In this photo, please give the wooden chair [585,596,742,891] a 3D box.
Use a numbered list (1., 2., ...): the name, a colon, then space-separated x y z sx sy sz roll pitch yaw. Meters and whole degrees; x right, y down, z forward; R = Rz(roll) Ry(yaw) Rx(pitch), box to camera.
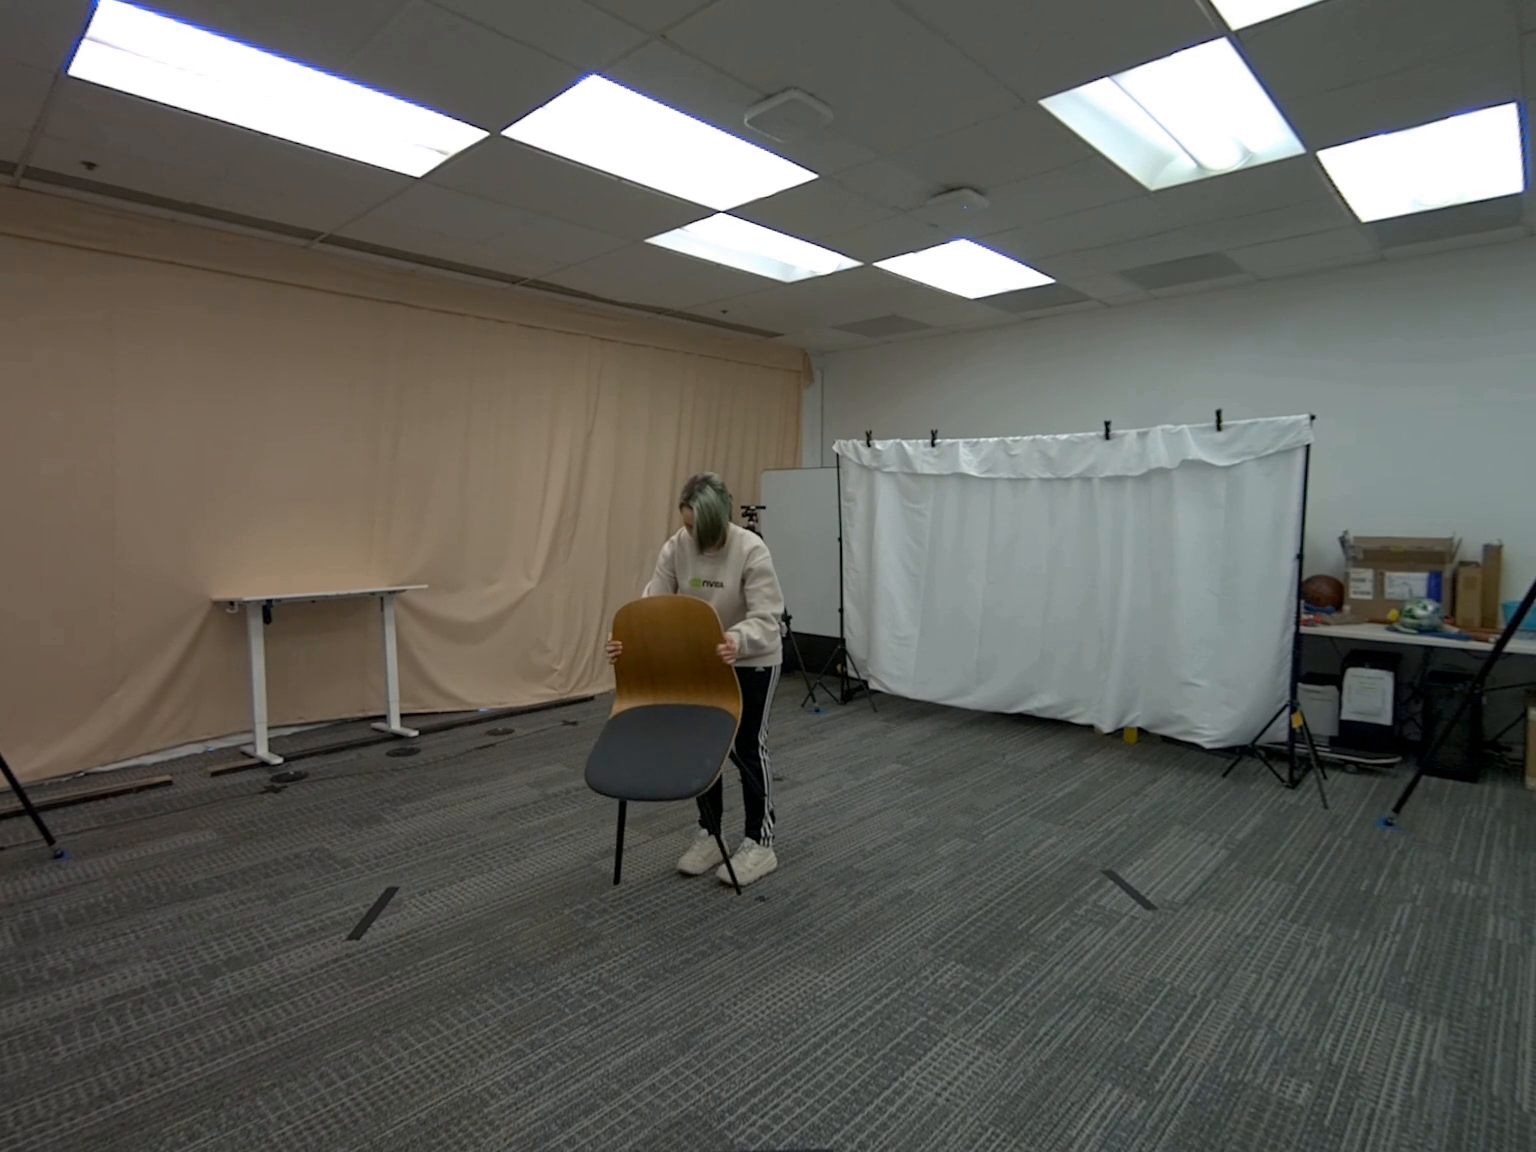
1. wooden chair: -0.329 0.577 2.795 0.486 0.863 0.523 -2 24 15
